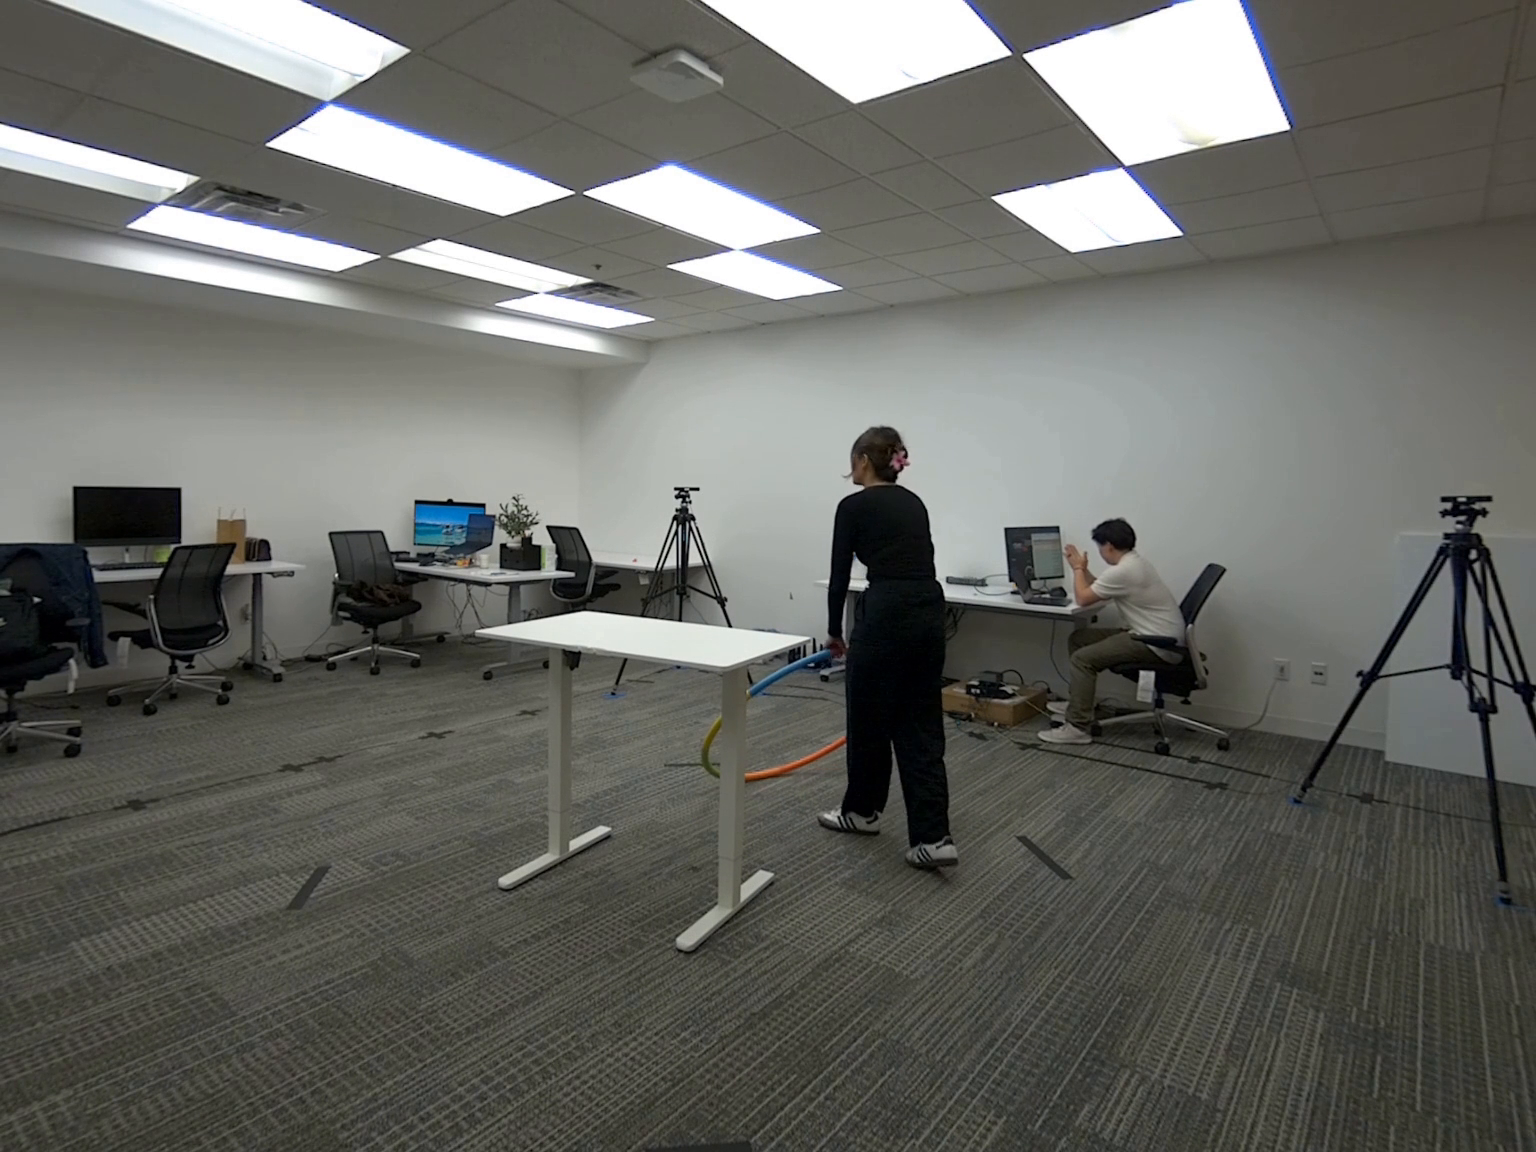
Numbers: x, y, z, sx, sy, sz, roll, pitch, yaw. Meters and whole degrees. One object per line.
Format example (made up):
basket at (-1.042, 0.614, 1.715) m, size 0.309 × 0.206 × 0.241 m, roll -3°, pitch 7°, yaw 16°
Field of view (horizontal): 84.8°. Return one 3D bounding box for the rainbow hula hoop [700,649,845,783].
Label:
rainbow hula hoop at (0.131, 0.629, 3.816) m, size 0.951 × 0.968 × 0.037 m, roll -2°, pitch 47°, yaw -34°
